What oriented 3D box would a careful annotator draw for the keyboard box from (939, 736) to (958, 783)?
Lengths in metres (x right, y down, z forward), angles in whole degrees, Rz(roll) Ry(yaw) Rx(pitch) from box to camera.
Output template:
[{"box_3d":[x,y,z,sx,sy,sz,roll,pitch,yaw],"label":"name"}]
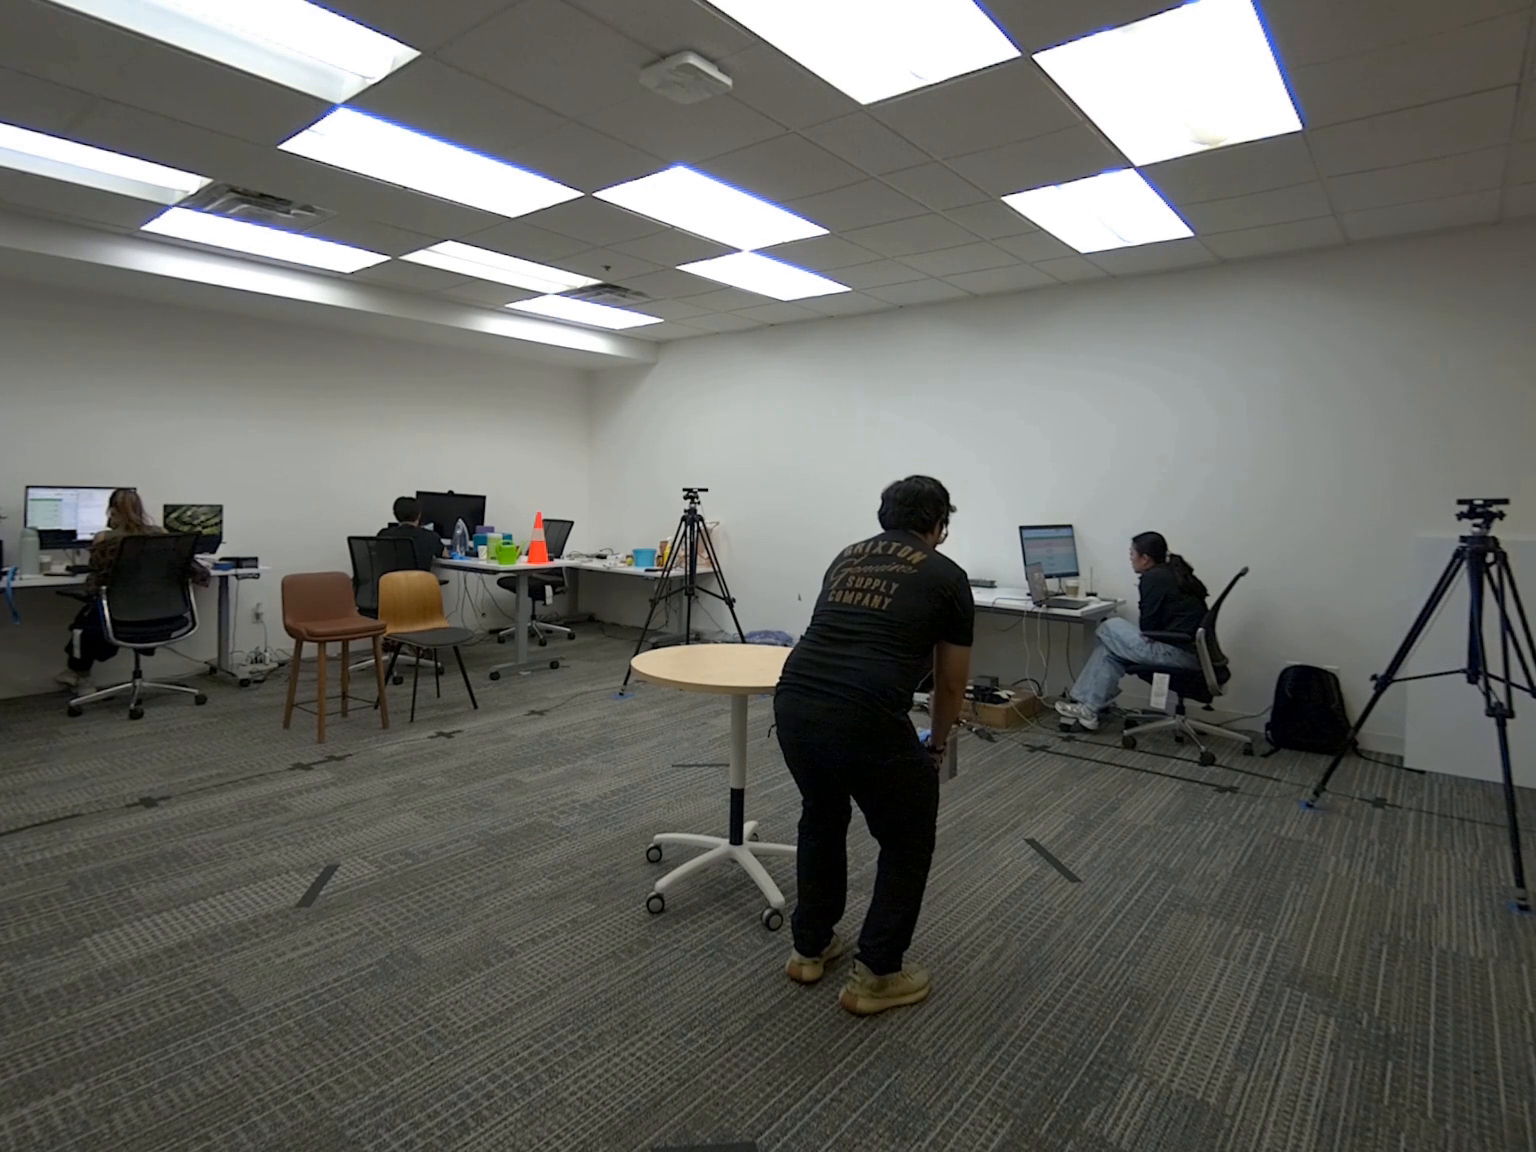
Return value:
[{"box_3d":[0.470,0.599,2.670,0.061,0.175,0.424,3,6,39],"label":"keyboard box"}]
